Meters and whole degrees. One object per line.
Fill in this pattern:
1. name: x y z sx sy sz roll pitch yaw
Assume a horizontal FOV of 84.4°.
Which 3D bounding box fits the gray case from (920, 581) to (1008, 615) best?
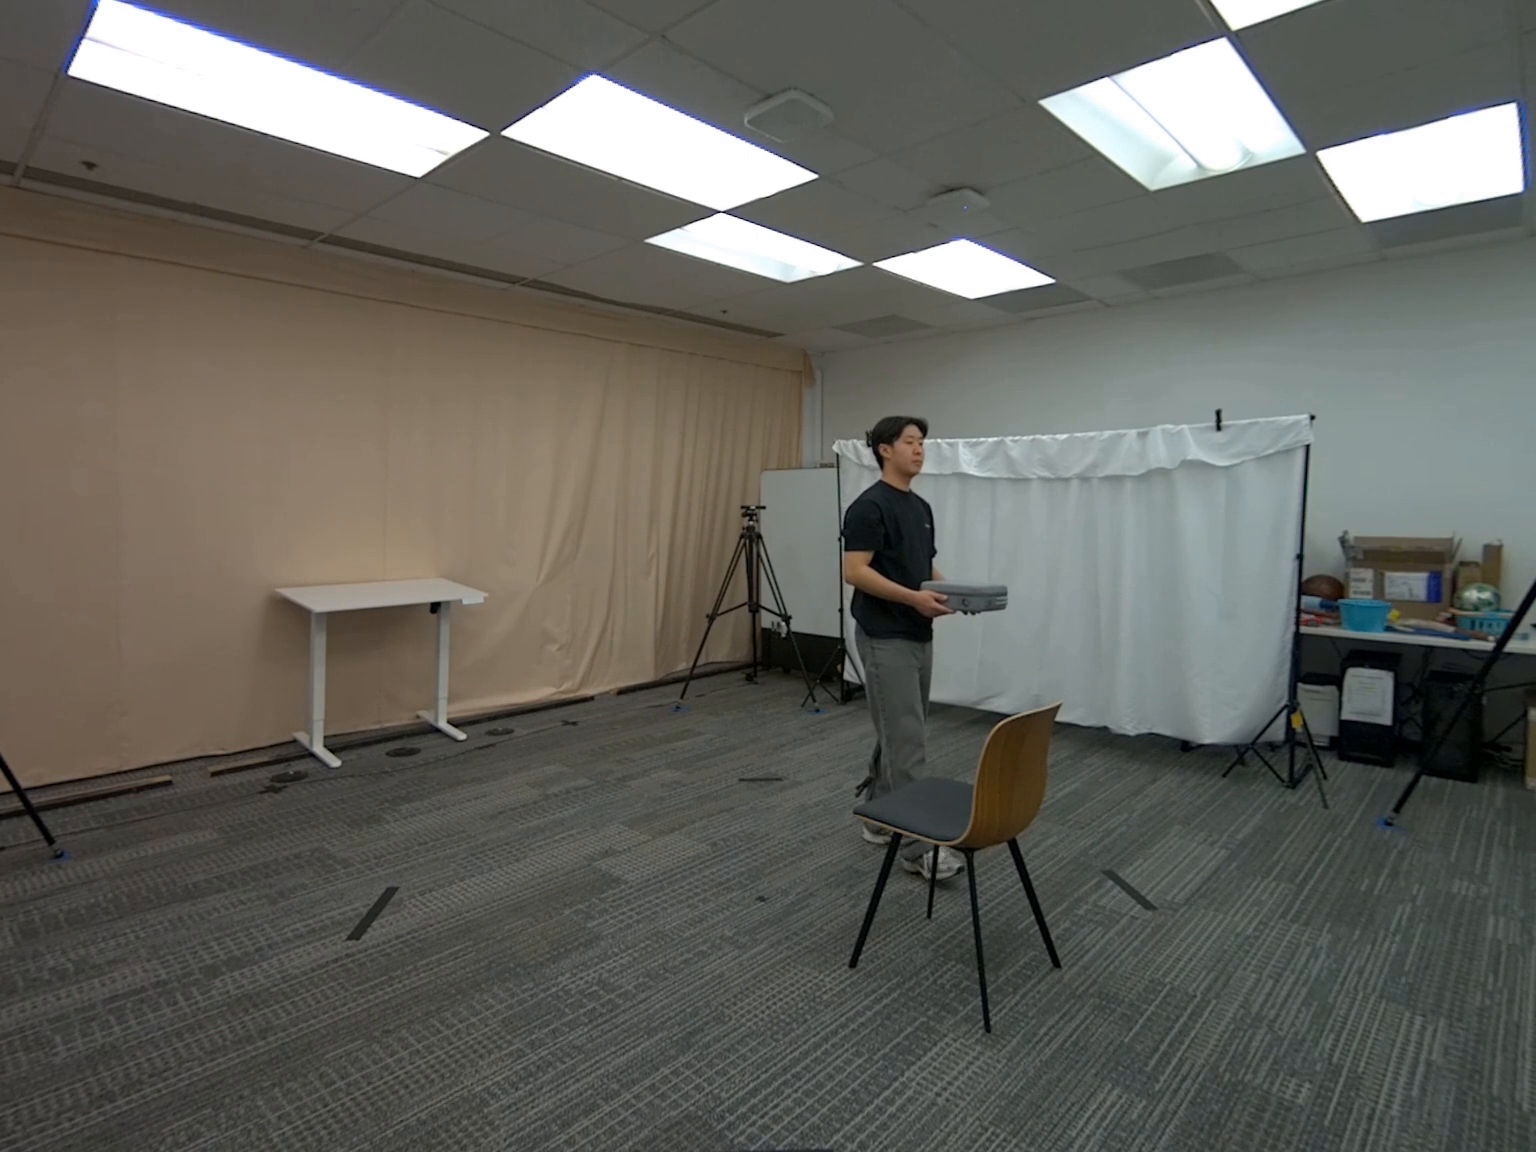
1. gray case: 0.760 0.080 3.202 0.297 0.103 0.255 7 7 43
